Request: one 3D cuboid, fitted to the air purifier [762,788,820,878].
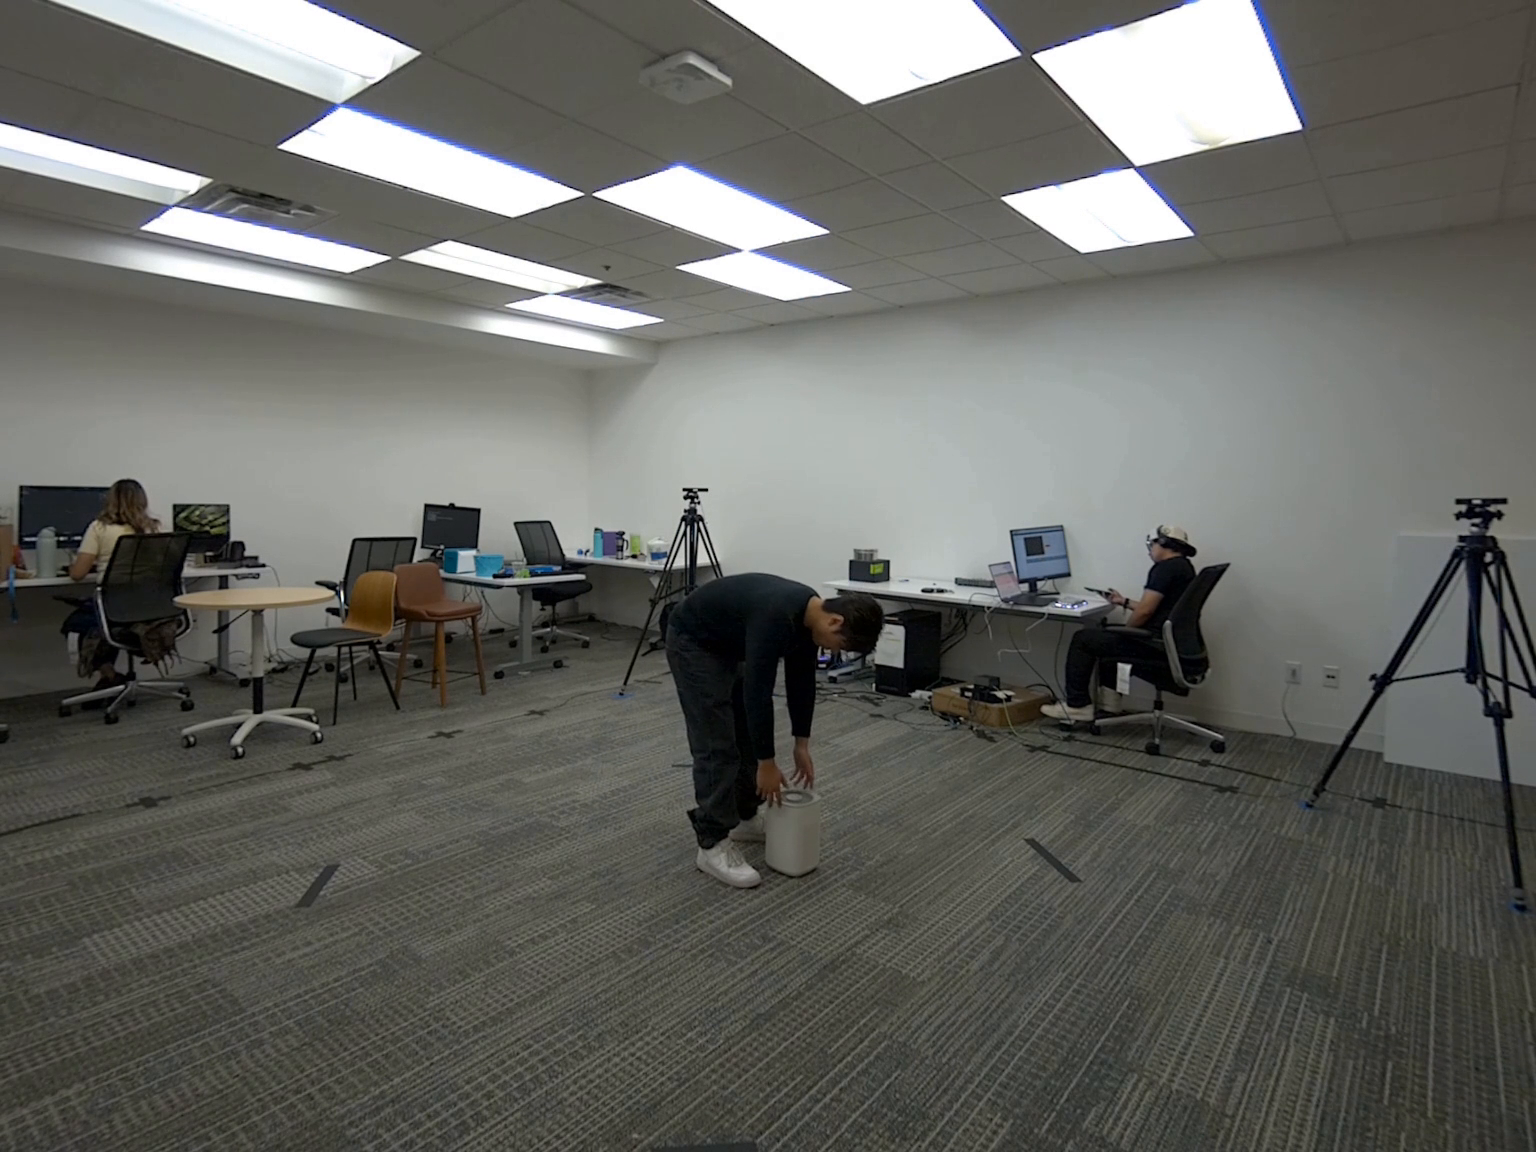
[{"bbox_3d":[0.083,0.944,3.144,0.177,0.265,0.166,3,2,40],"label":"air purifier"}]
